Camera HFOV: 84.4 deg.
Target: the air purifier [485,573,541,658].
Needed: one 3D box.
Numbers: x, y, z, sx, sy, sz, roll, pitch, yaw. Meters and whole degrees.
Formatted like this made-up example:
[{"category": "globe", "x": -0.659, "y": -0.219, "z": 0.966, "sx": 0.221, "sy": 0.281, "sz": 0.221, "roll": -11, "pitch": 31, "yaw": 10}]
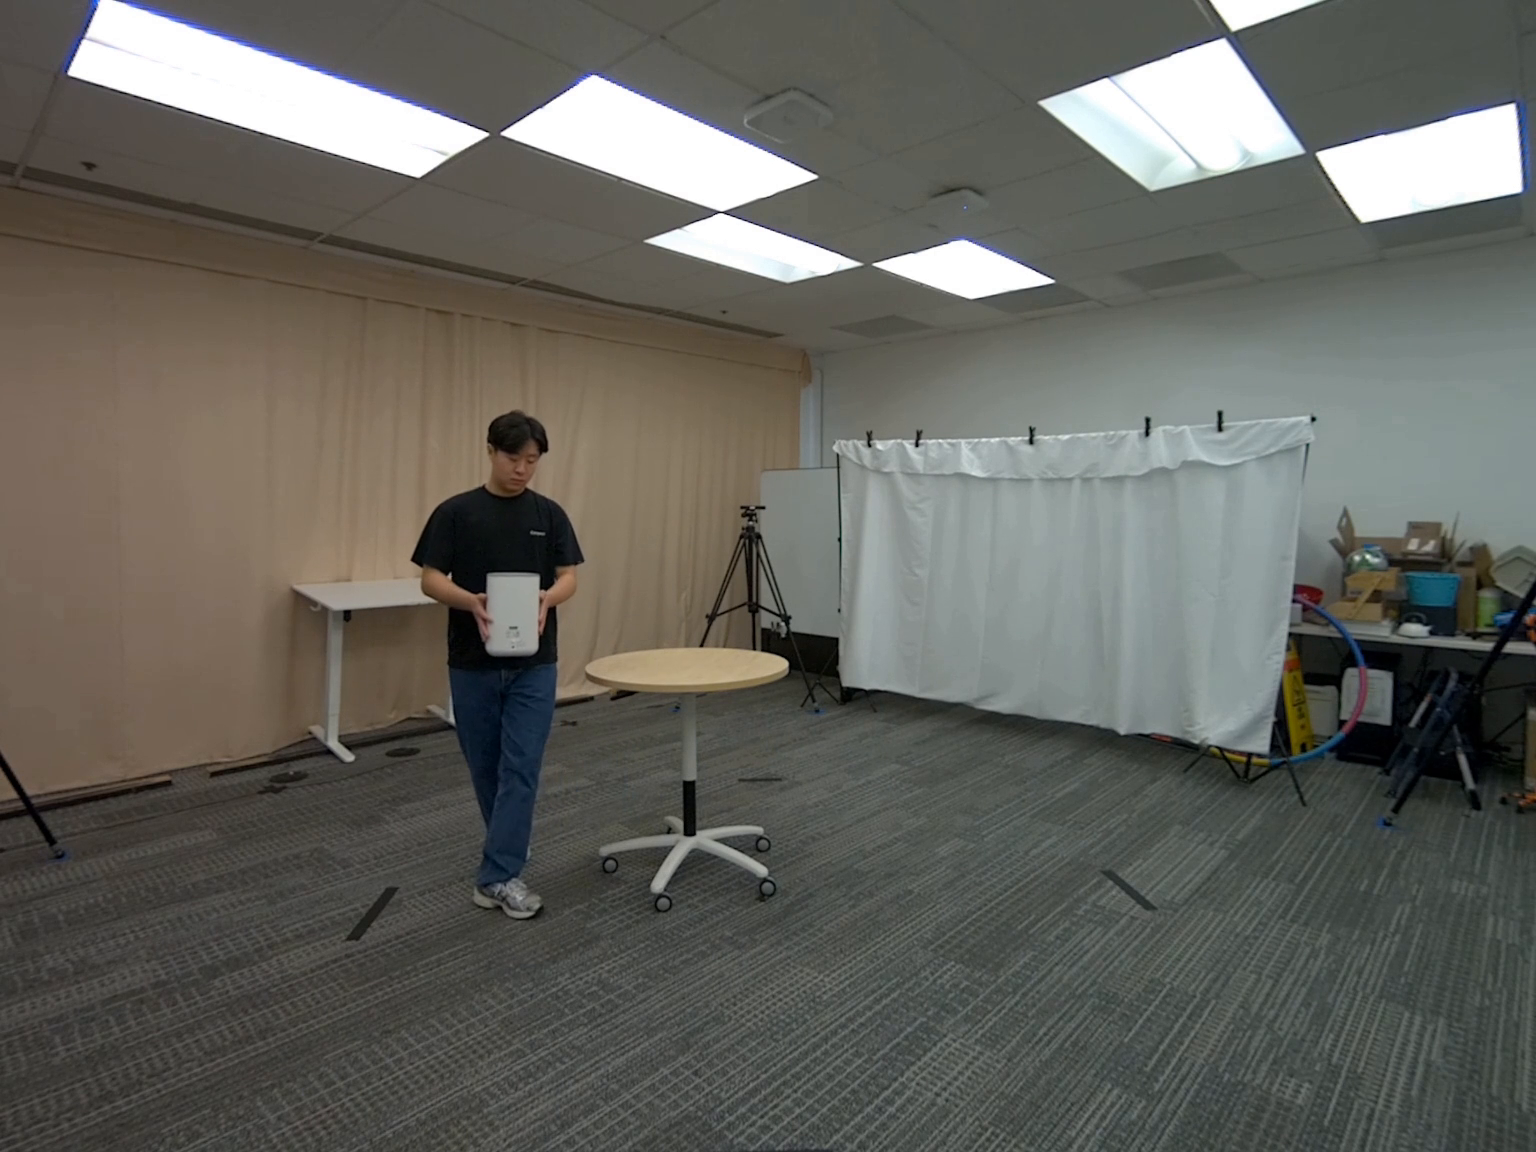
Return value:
[{"category": "air purifier", "x": -0.849, "y": 0.124, "z": 2.787, "sx": 0.168, "sy": 0.265, "sz": 0.175, "roll": -1, "pitch": 1, "yaw": -18}]
